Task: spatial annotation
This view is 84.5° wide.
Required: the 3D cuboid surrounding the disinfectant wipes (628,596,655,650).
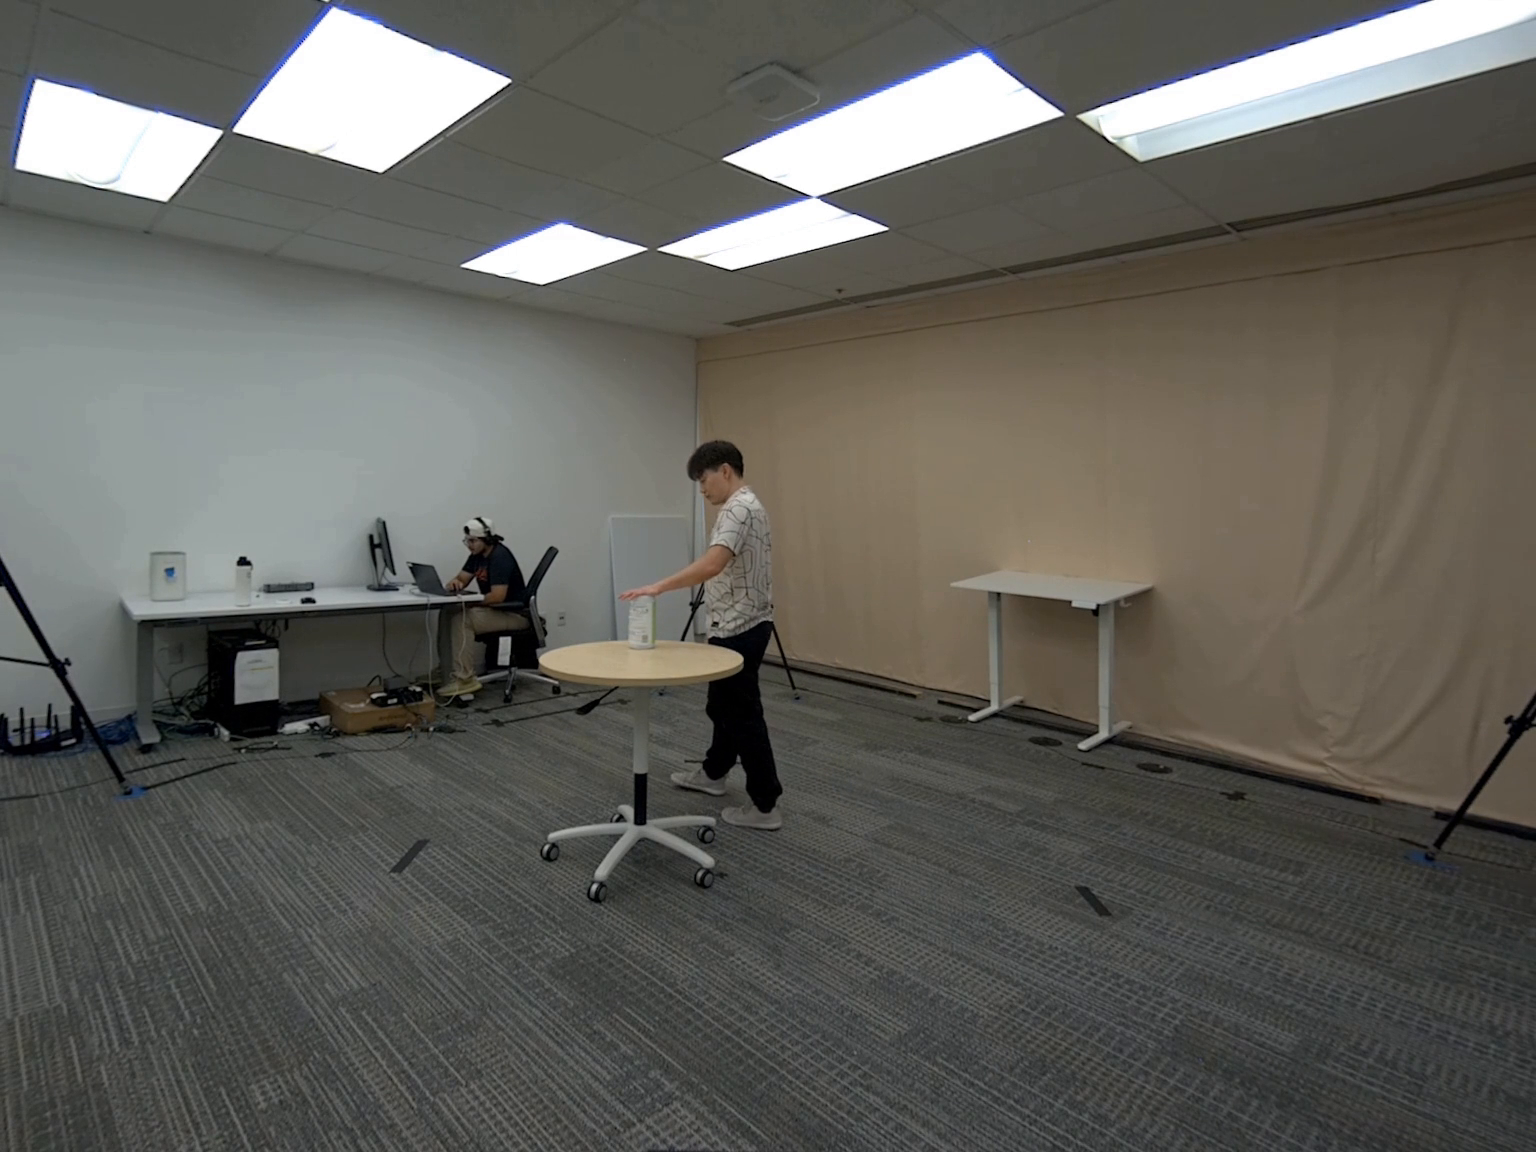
[{"bbox_3d":[-0.514,0.184,3.385,0.118,0.217,0.118,3,5,-2],"label":"disinfectant wipes"}]
